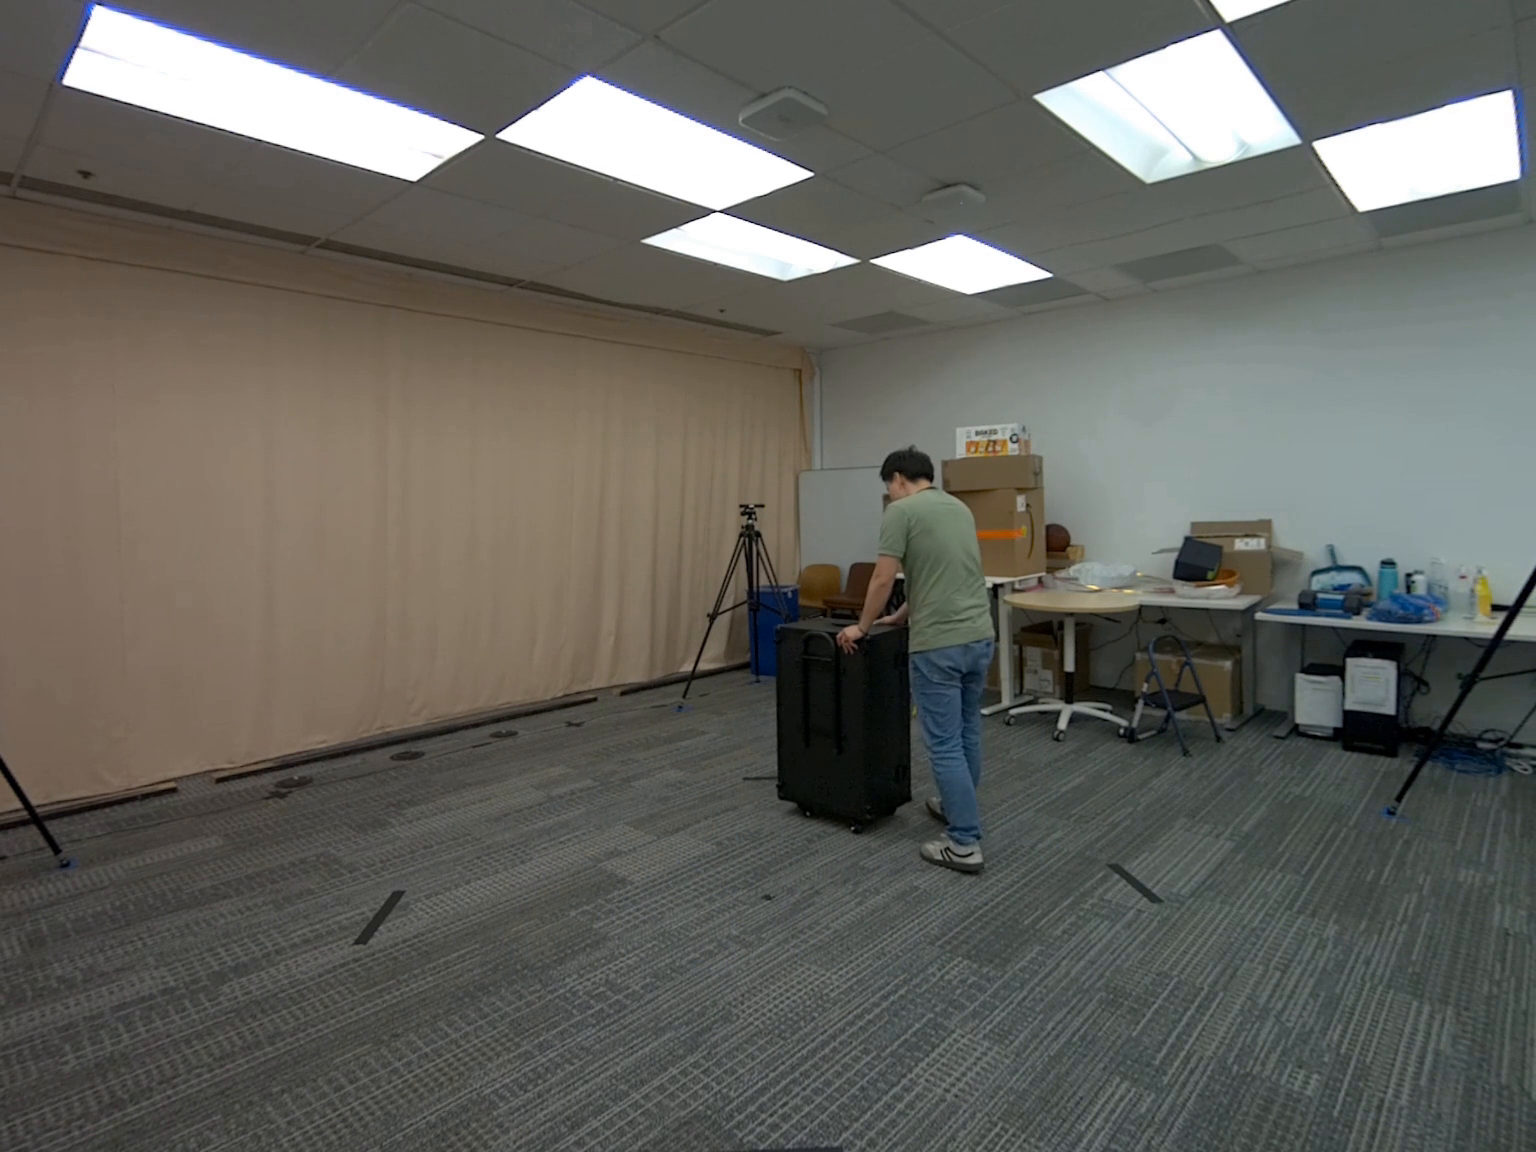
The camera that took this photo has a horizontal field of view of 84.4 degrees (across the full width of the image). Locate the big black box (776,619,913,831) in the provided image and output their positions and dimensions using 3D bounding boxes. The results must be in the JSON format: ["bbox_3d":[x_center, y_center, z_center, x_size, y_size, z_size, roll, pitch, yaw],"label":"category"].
[{"bbox_3d":[0.332,0.647,3.736,0.538,0.859,0.385,2,5,38],"label":"big black box"}]
